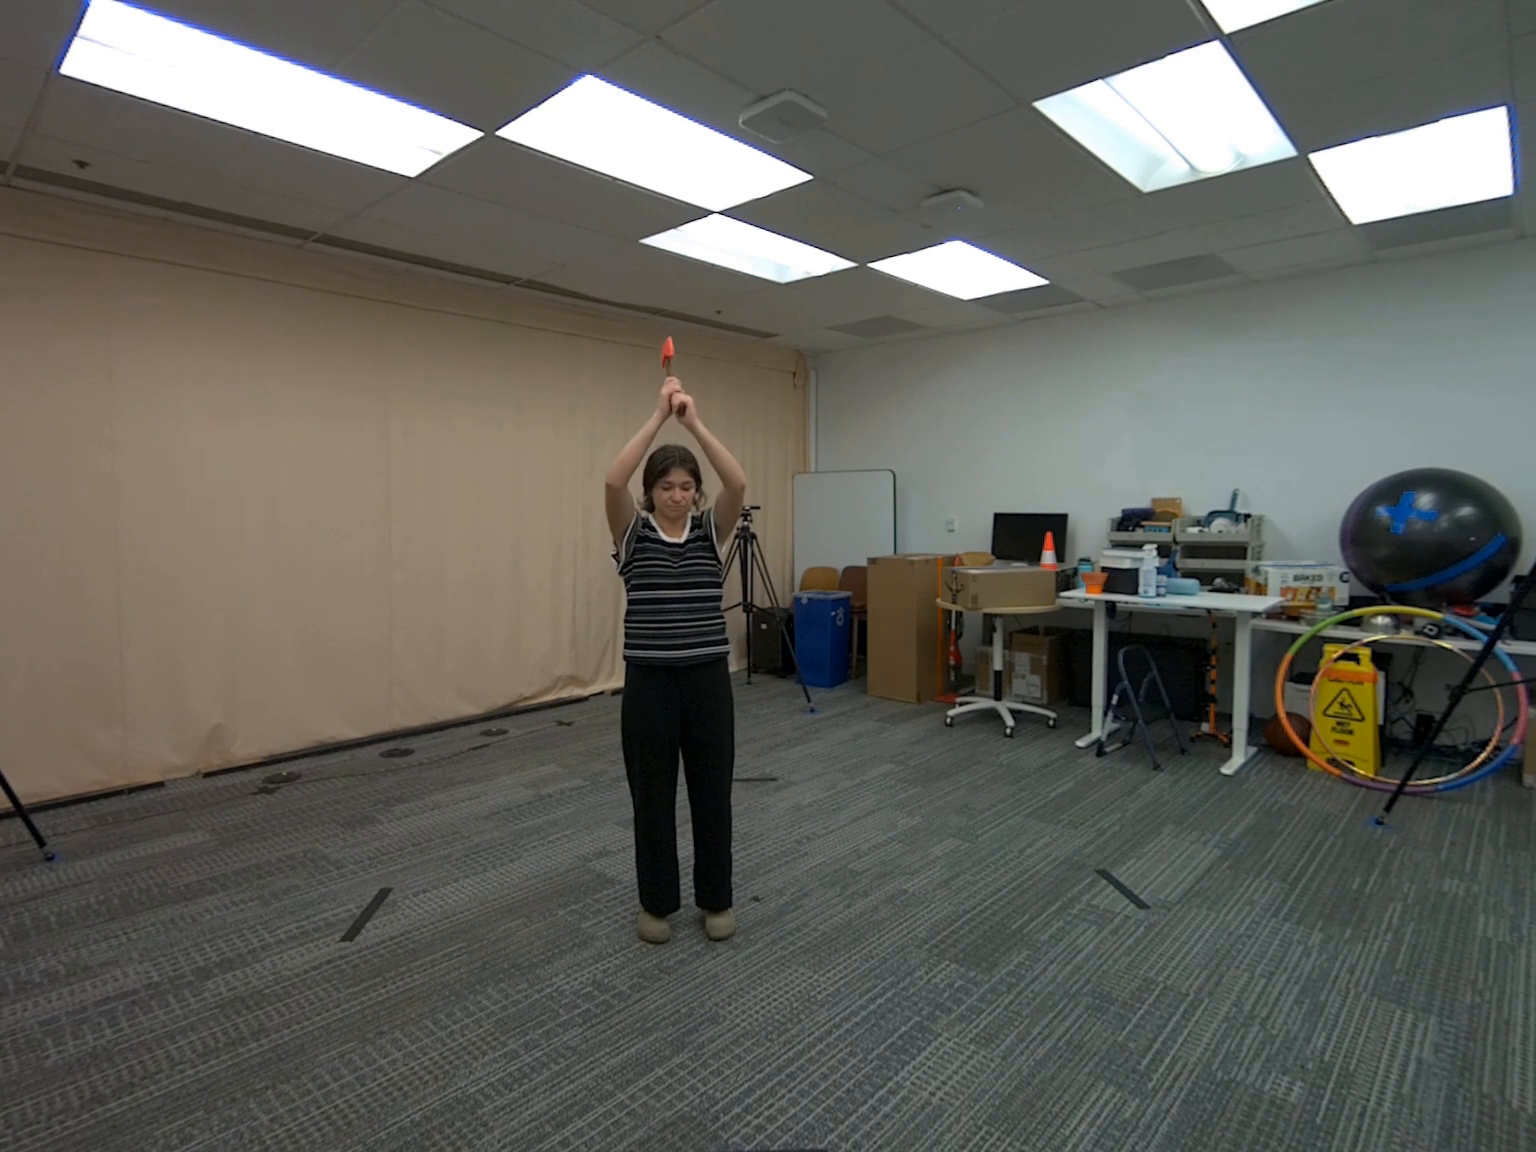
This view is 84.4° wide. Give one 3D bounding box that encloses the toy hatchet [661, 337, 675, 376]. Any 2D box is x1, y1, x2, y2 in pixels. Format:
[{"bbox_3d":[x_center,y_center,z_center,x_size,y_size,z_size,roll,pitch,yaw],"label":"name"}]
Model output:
[{"bbox_3d":[-0.276,-0.587,2.477,0.029,0.129,0.277,-4,48,-15],"label":"toy hatchet"}]
